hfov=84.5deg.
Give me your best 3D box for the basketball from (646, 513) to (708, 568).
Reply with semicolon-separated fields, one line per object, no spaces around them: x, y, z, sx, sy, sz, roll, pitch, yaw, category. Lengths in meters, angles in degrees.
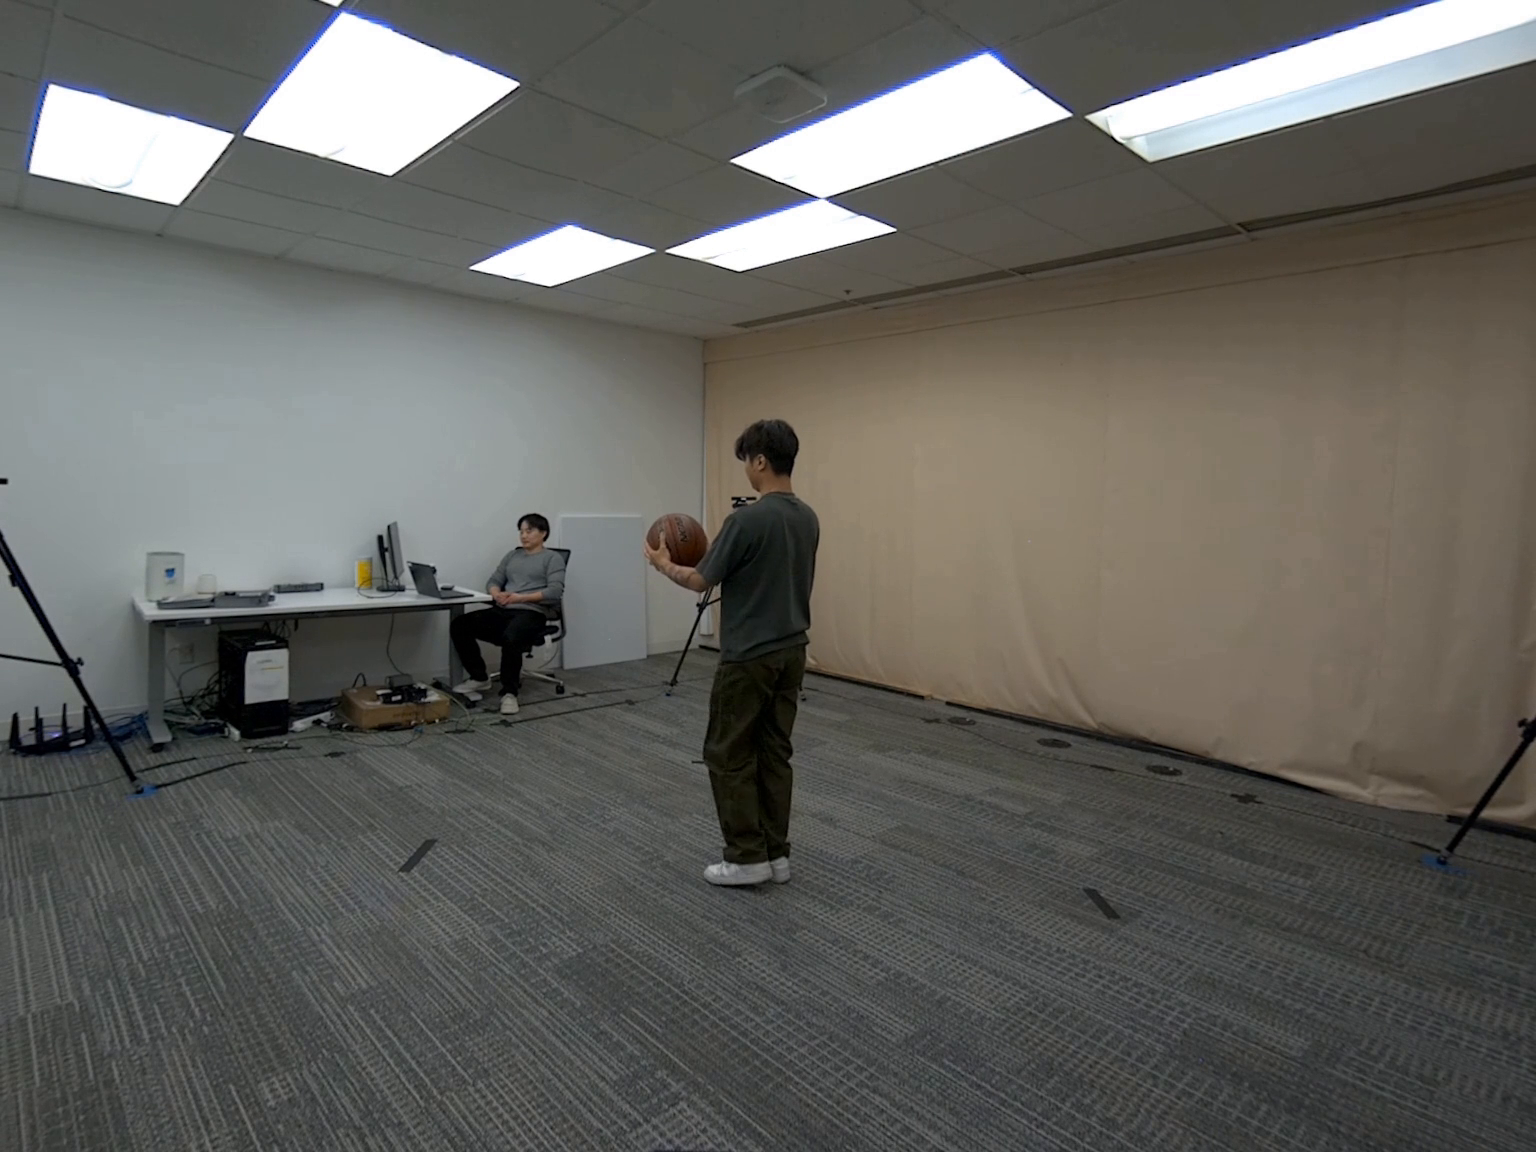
-0.363;-0.125;3.306;0.236;0.235;0.237;1;4;-1;basketball
